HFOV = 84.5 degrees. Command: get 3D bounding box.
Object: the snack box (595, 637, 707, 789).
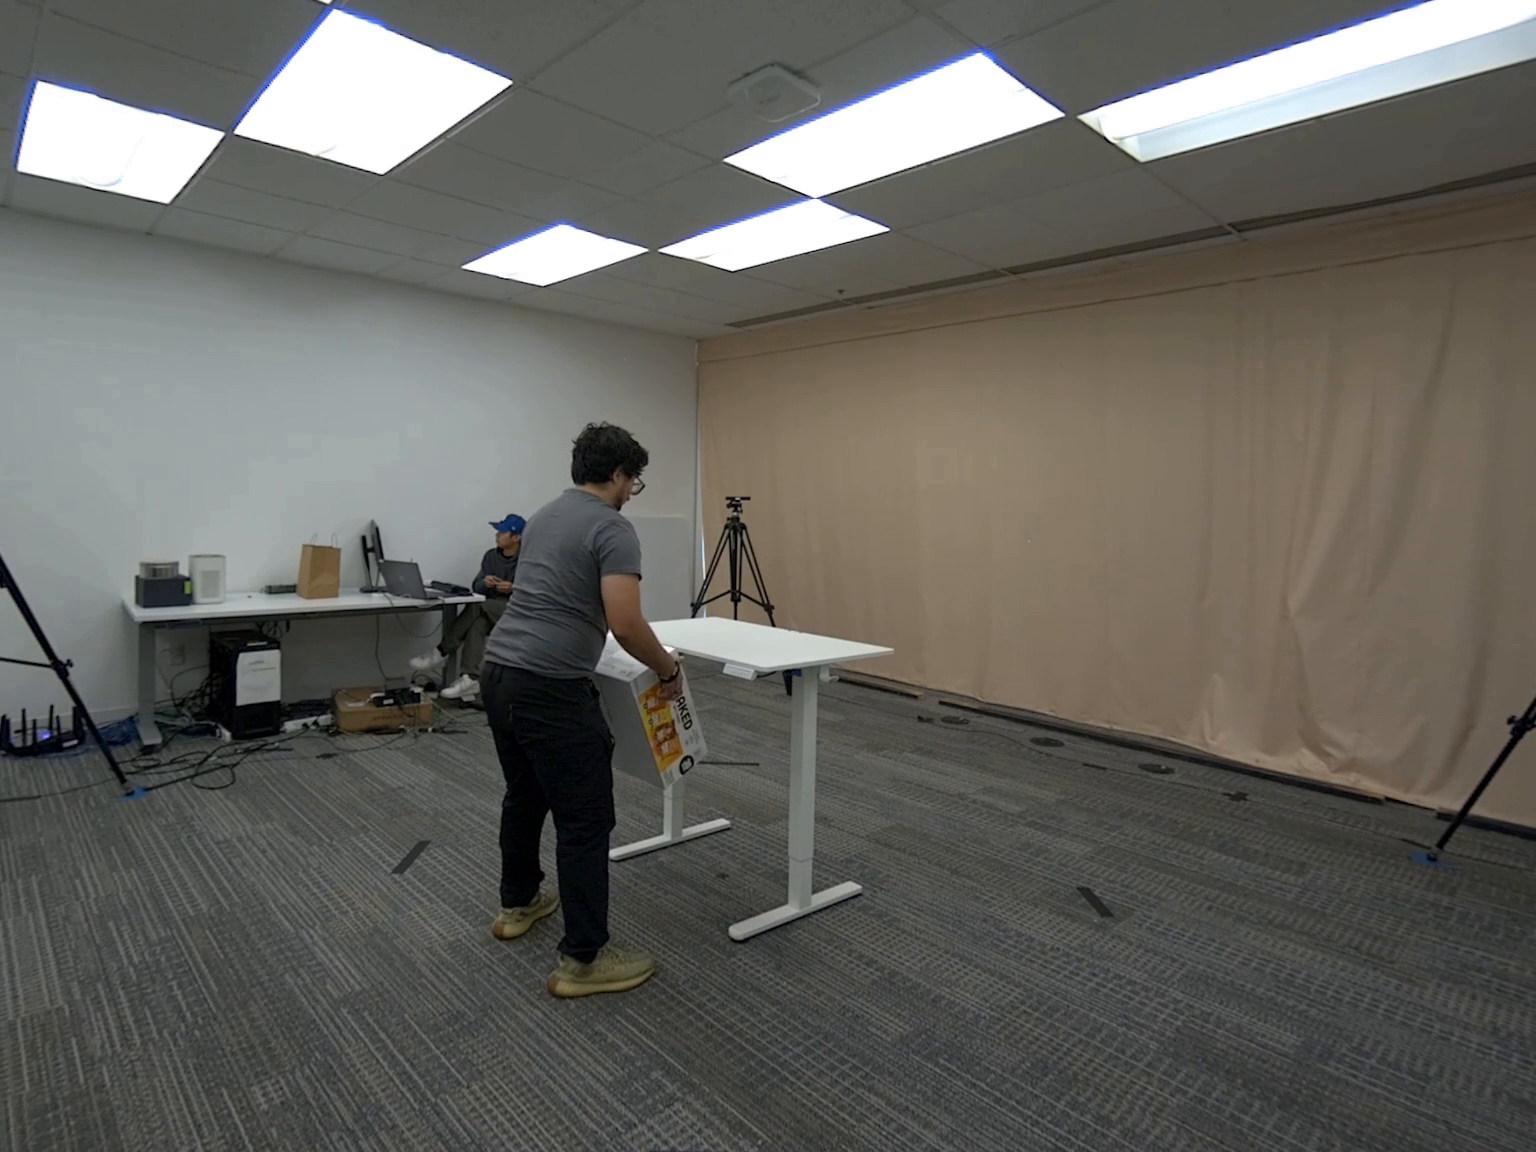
[{"bbox_3d":[-0.435,0.436,2.737,0.349,0.397,0.204,8,31,42],"label":"snack box"}]
